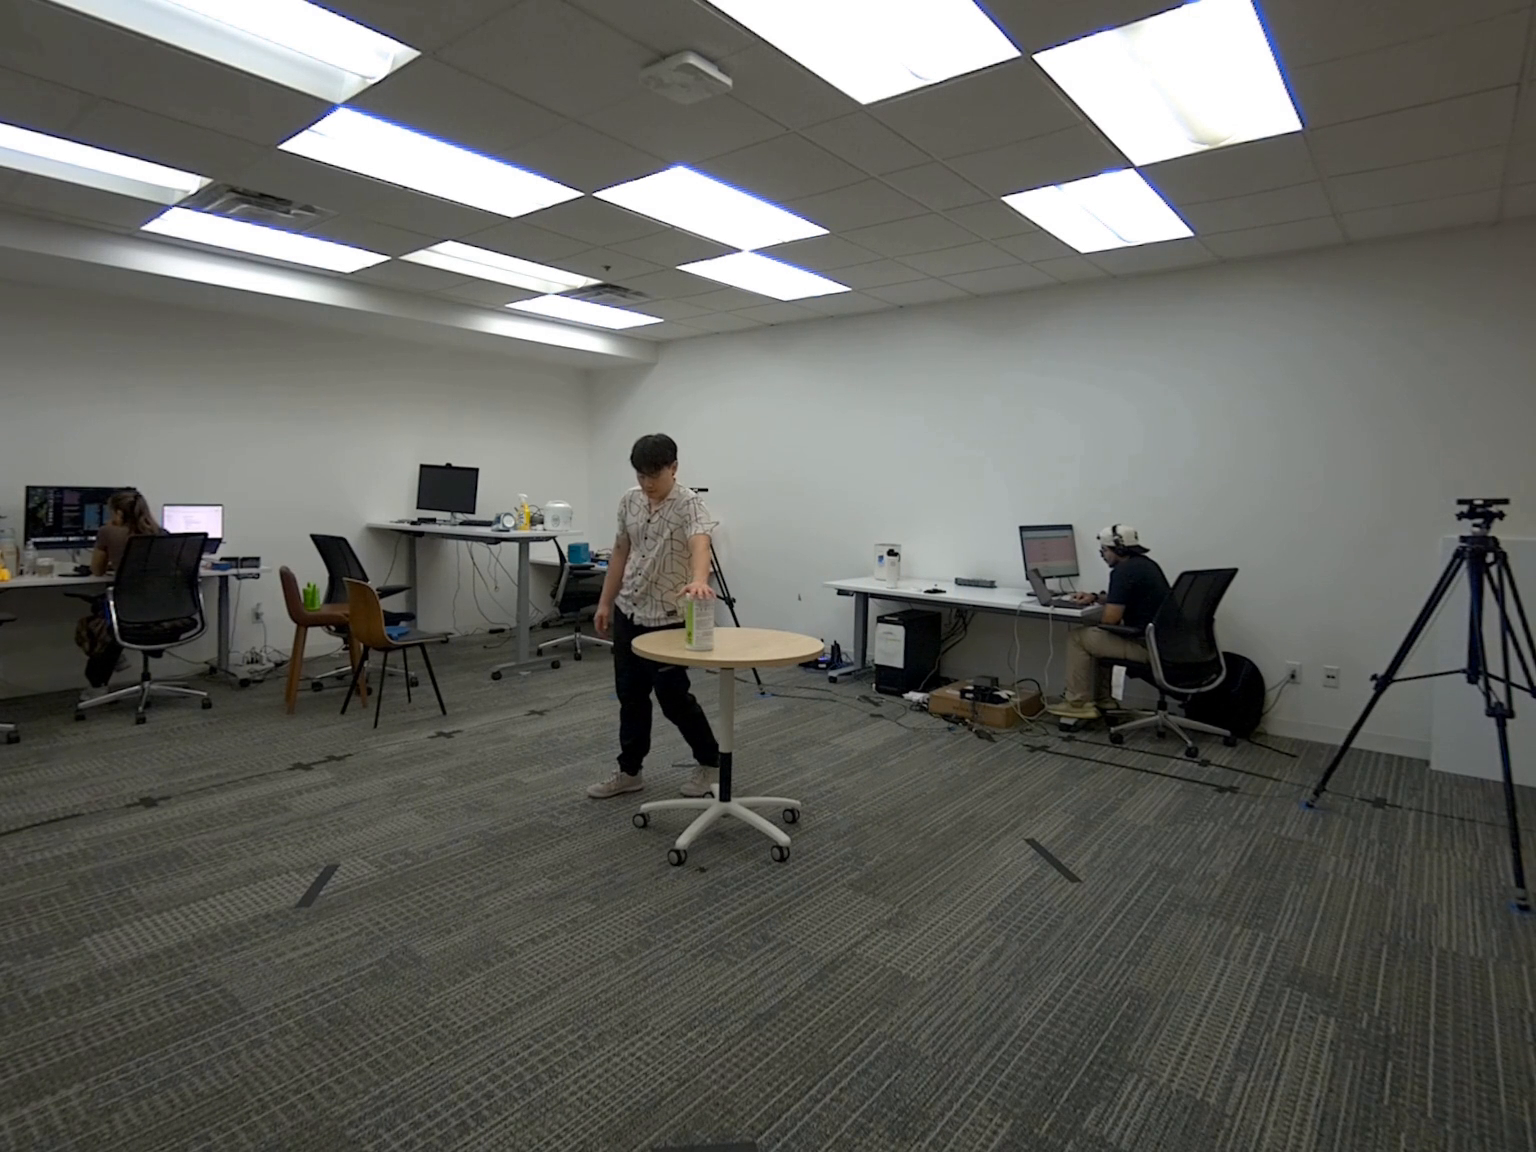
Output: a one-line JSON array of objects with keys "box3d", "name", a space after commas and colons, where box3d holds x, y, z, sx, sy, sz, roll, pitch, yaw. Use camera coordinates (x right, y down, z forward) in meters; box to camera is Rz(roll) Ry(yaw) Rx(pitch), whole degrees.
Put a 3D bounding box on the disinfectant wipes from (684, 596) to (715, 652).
[{"box3d": [-0.266, 0.171, 3.230, 0.118, 0.217, 0.118, -1, 3, -2], "name": "disinfectant wipes"}]
